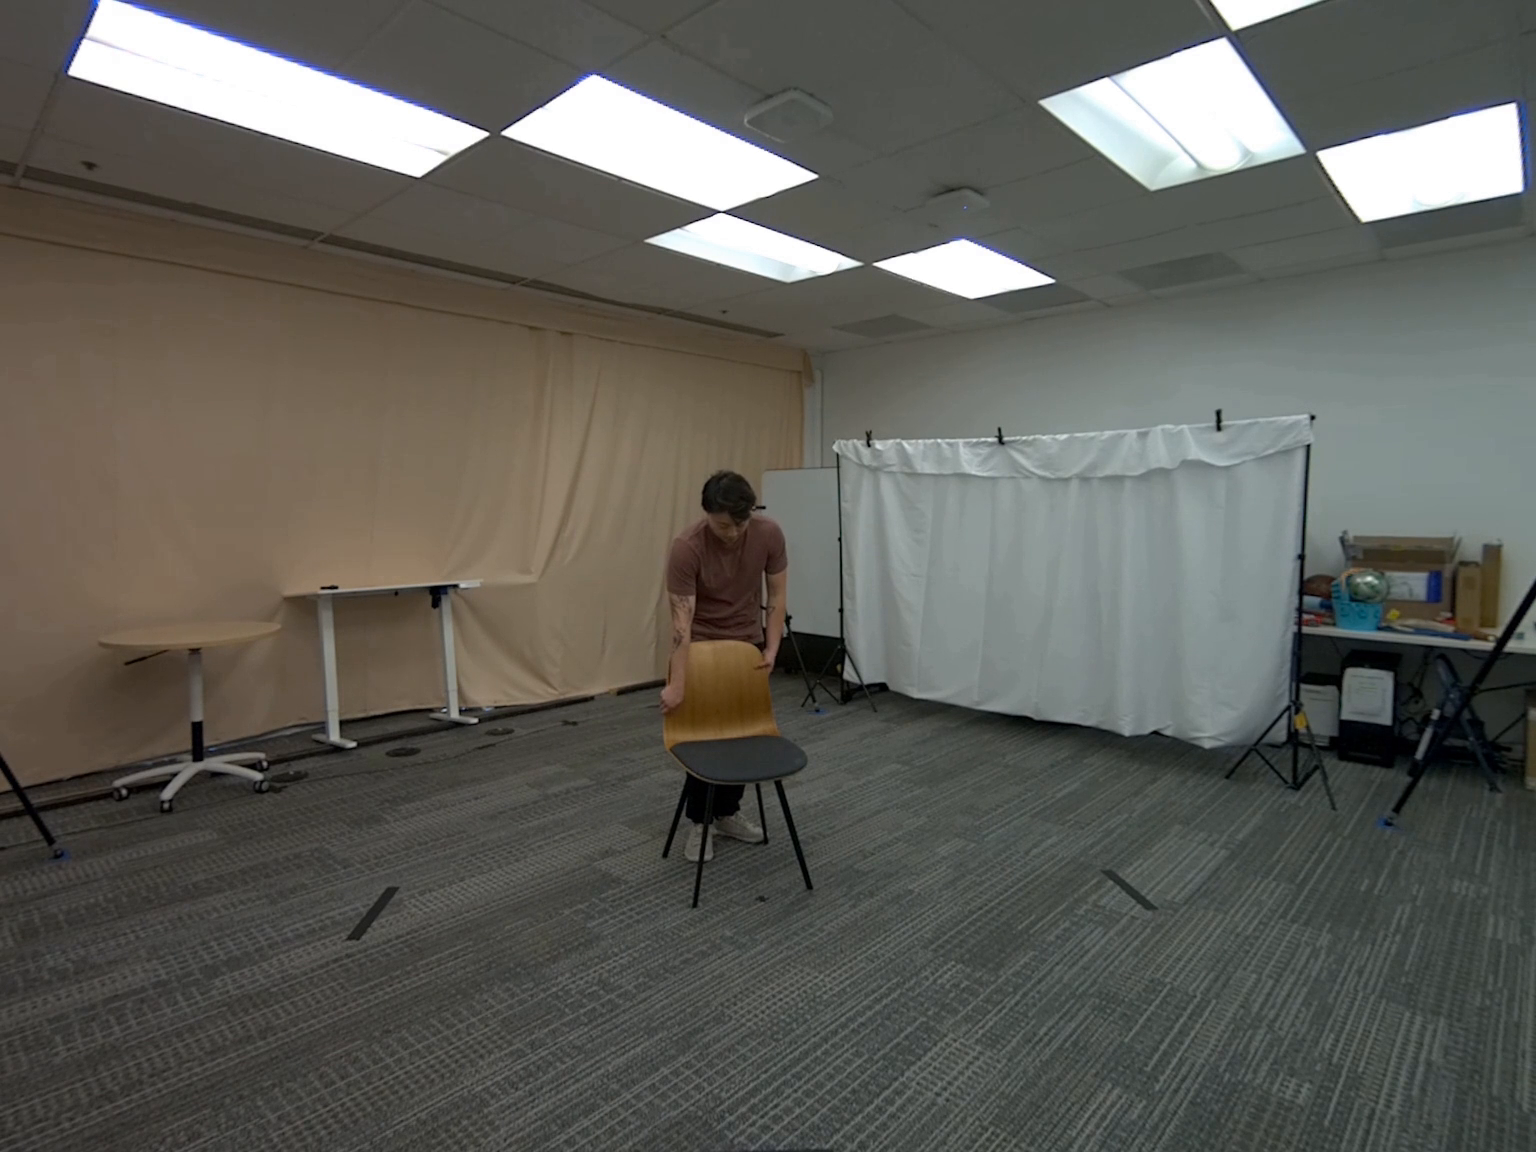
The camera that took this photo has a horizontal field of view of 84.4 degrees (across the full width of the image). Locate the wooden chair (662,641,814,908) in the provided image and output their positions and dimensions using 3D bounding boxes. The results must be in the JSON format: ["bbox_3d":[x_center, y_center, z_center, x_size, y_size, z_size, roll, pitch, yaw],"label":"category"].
[{"bbox_3d":[-0.121,0.700,3.155,0.469,0.878,0.533,0,-1,-19],"label":"wooden chair"}]
